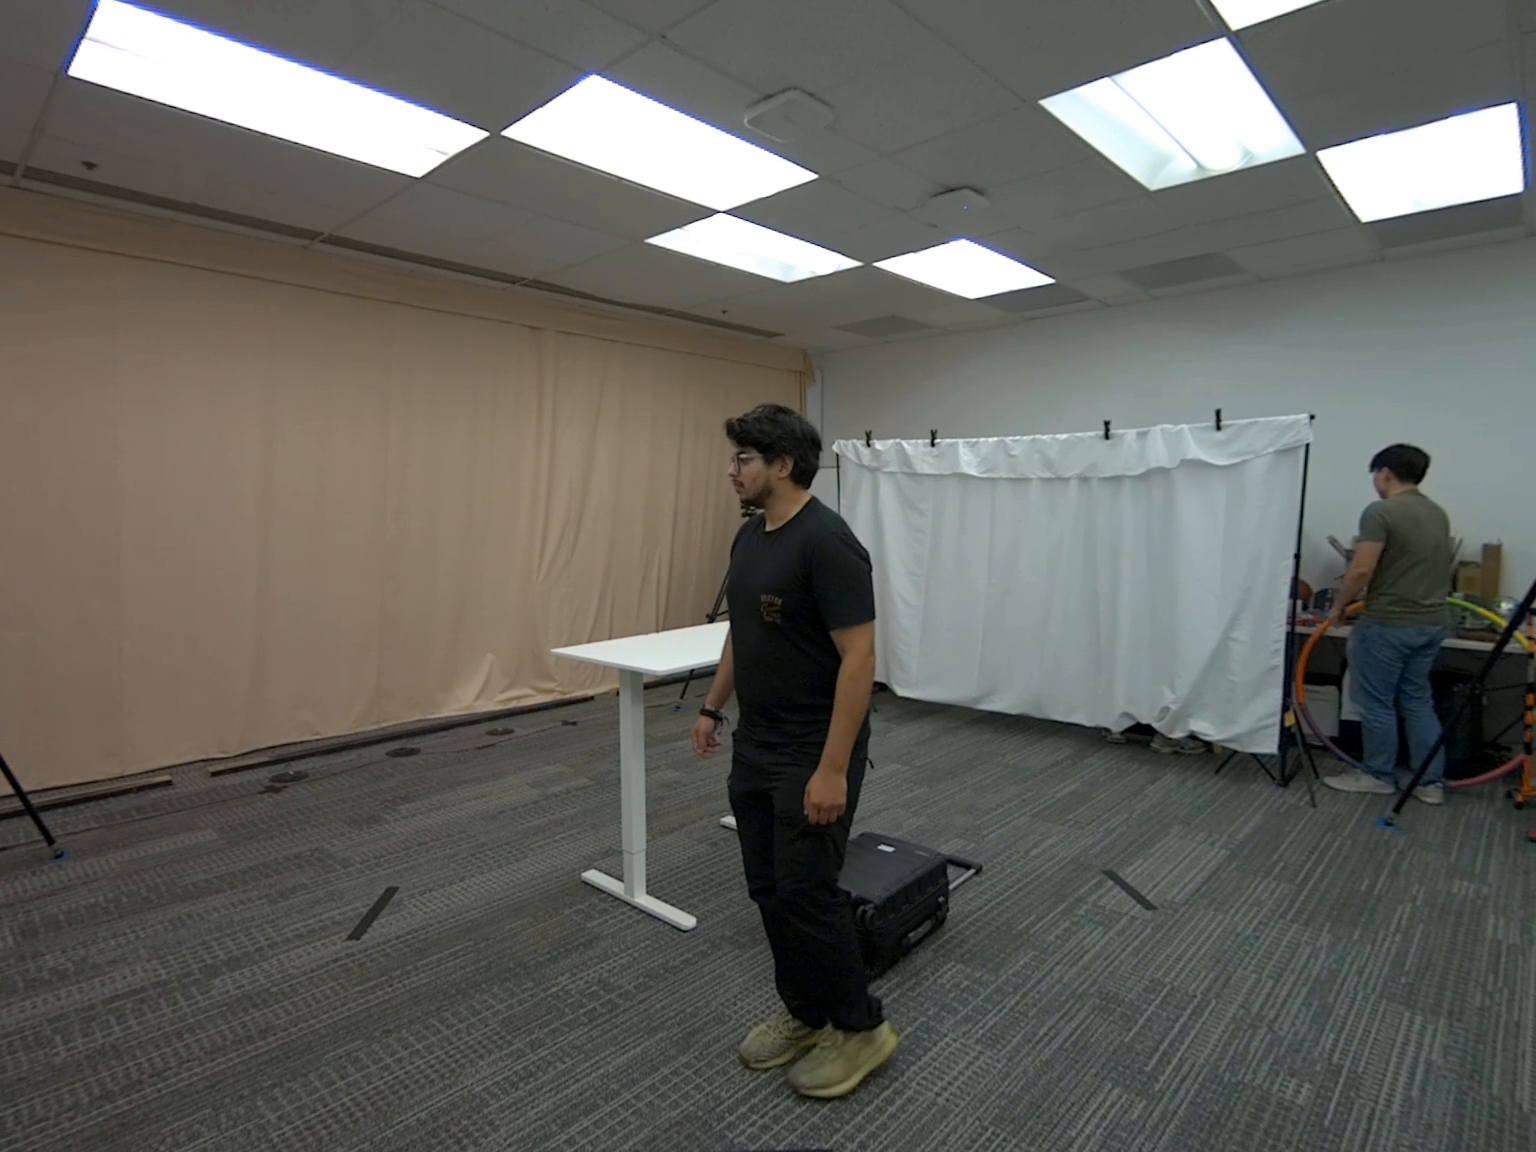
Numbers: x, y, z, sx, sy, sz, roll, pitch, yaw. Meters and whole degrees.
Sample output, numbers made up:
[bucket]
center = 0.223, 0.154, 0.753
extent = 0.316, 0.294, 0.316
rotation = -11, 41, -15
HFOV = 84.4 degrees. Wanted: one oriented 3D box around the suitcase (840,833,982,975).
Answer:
[suitcase]
center = 0.458, 1.027, 2.874
extent = 0.396, 0.256, 0.950
rotation = 2, 6, 38
